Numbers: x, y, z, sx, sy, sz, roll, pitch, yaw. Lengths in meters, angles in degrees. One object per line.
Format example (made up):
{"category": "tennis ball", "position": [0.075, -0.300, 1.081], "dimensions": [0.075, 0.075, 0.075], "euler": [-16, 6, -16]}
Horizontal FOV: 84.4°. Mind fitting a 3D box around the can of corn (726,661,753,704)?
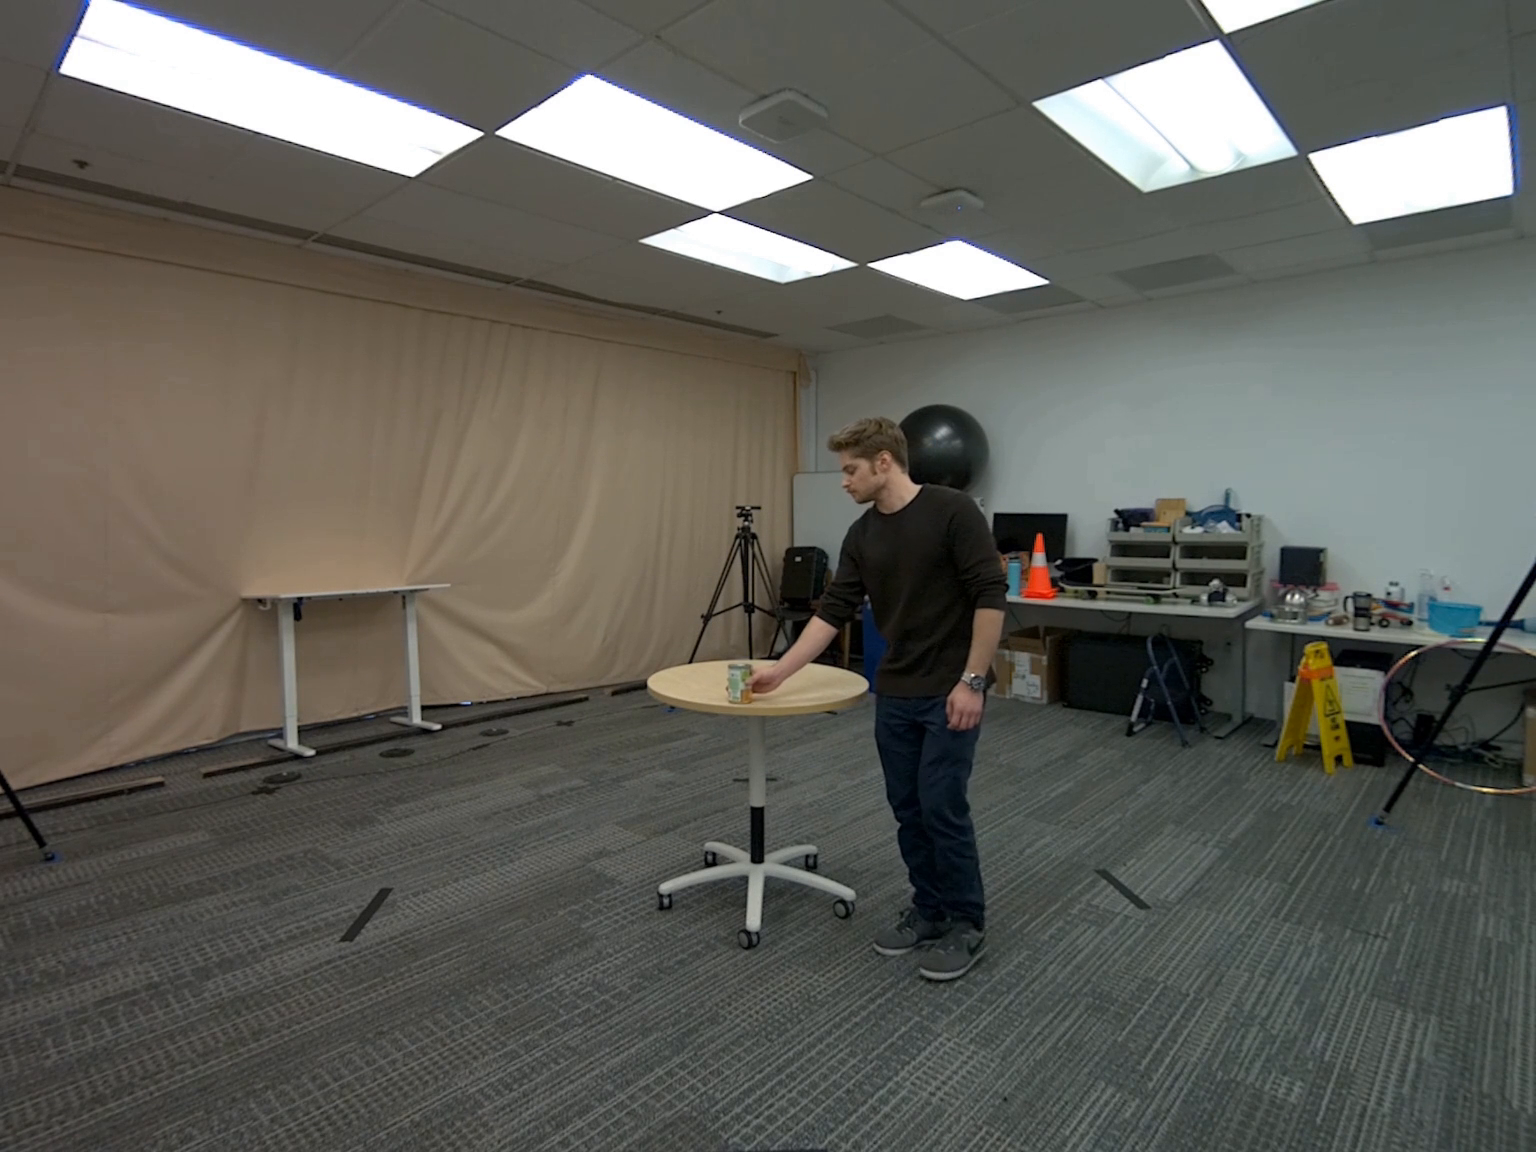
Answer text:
{"category": "can of corn", "position": [-0.078, 0.338, 2.619], "dimensions": [0.074, 0.111, 0.074], "euler": [3, 5, -2]}
